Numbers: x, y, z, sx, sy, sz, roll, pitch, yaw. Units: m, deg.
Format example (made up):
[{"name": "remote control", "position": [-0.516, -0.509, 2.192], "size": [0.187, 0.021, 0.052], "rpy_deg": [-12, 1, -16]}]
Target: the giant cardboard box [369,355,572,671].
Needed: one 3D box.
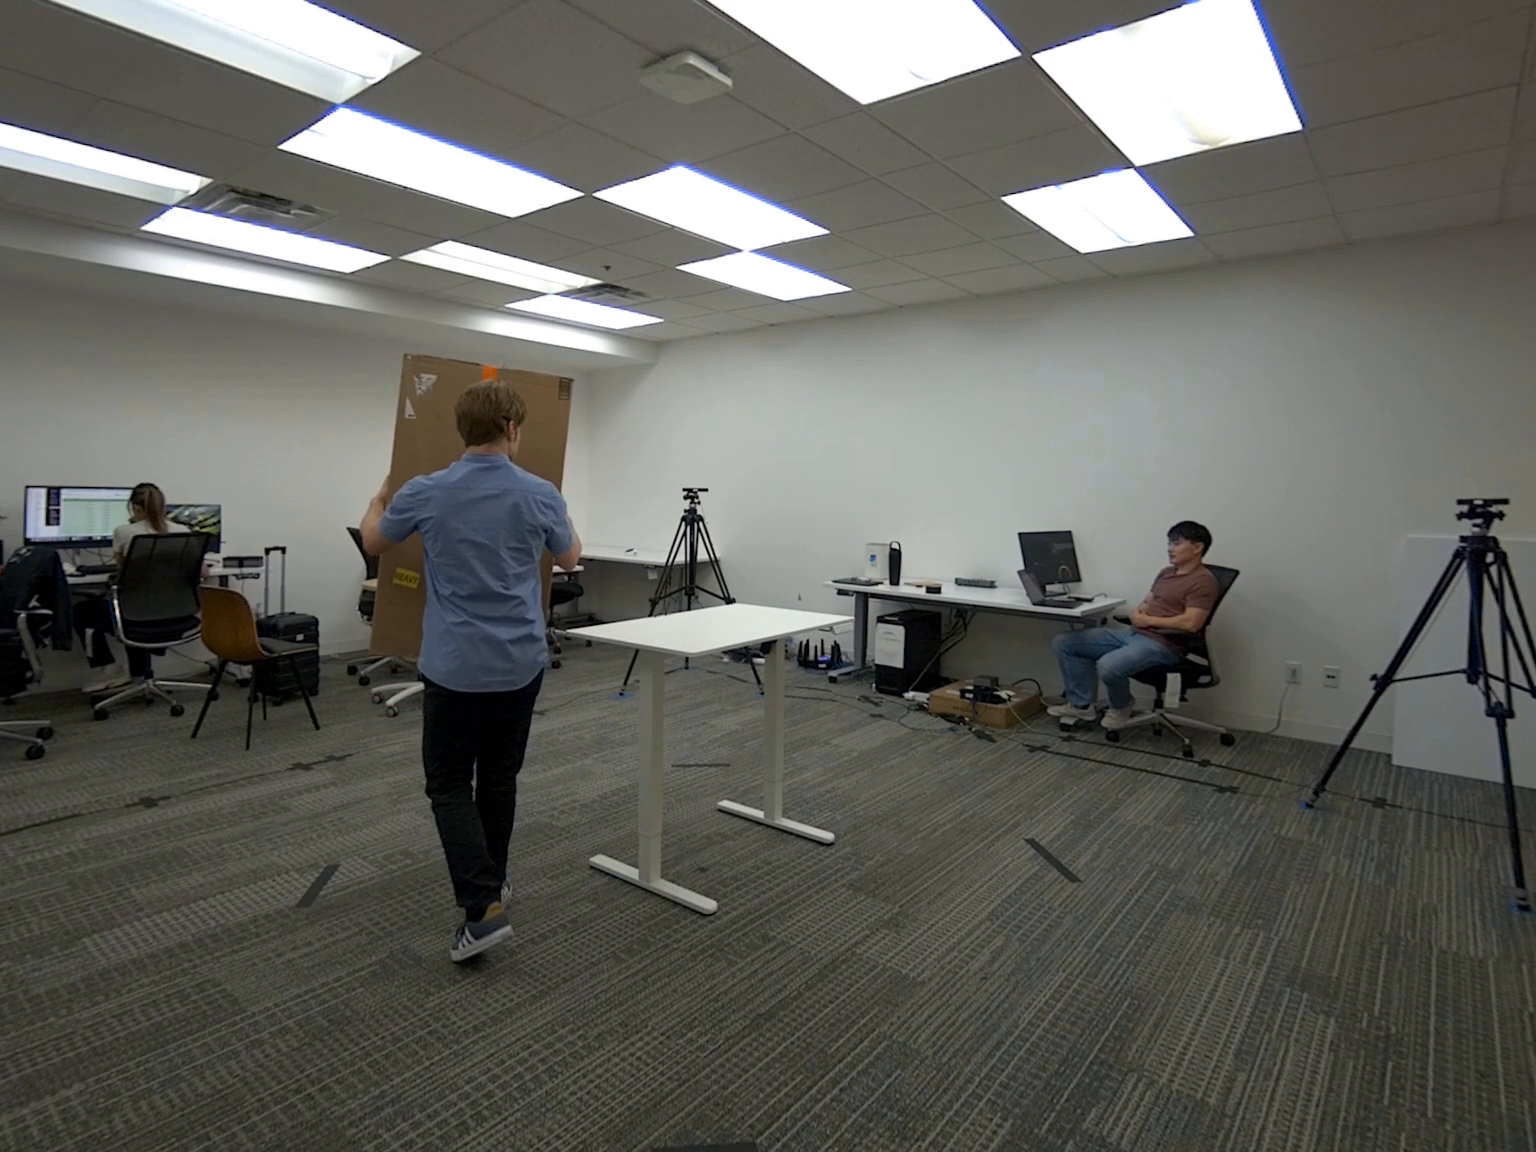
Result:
[{"name": "giant cardboard box", "position": [-1.086, -0.229, 3.106], "size": [0.567, 1.027, 0.433], "rpy_deg": [6, -1, -16]}]
